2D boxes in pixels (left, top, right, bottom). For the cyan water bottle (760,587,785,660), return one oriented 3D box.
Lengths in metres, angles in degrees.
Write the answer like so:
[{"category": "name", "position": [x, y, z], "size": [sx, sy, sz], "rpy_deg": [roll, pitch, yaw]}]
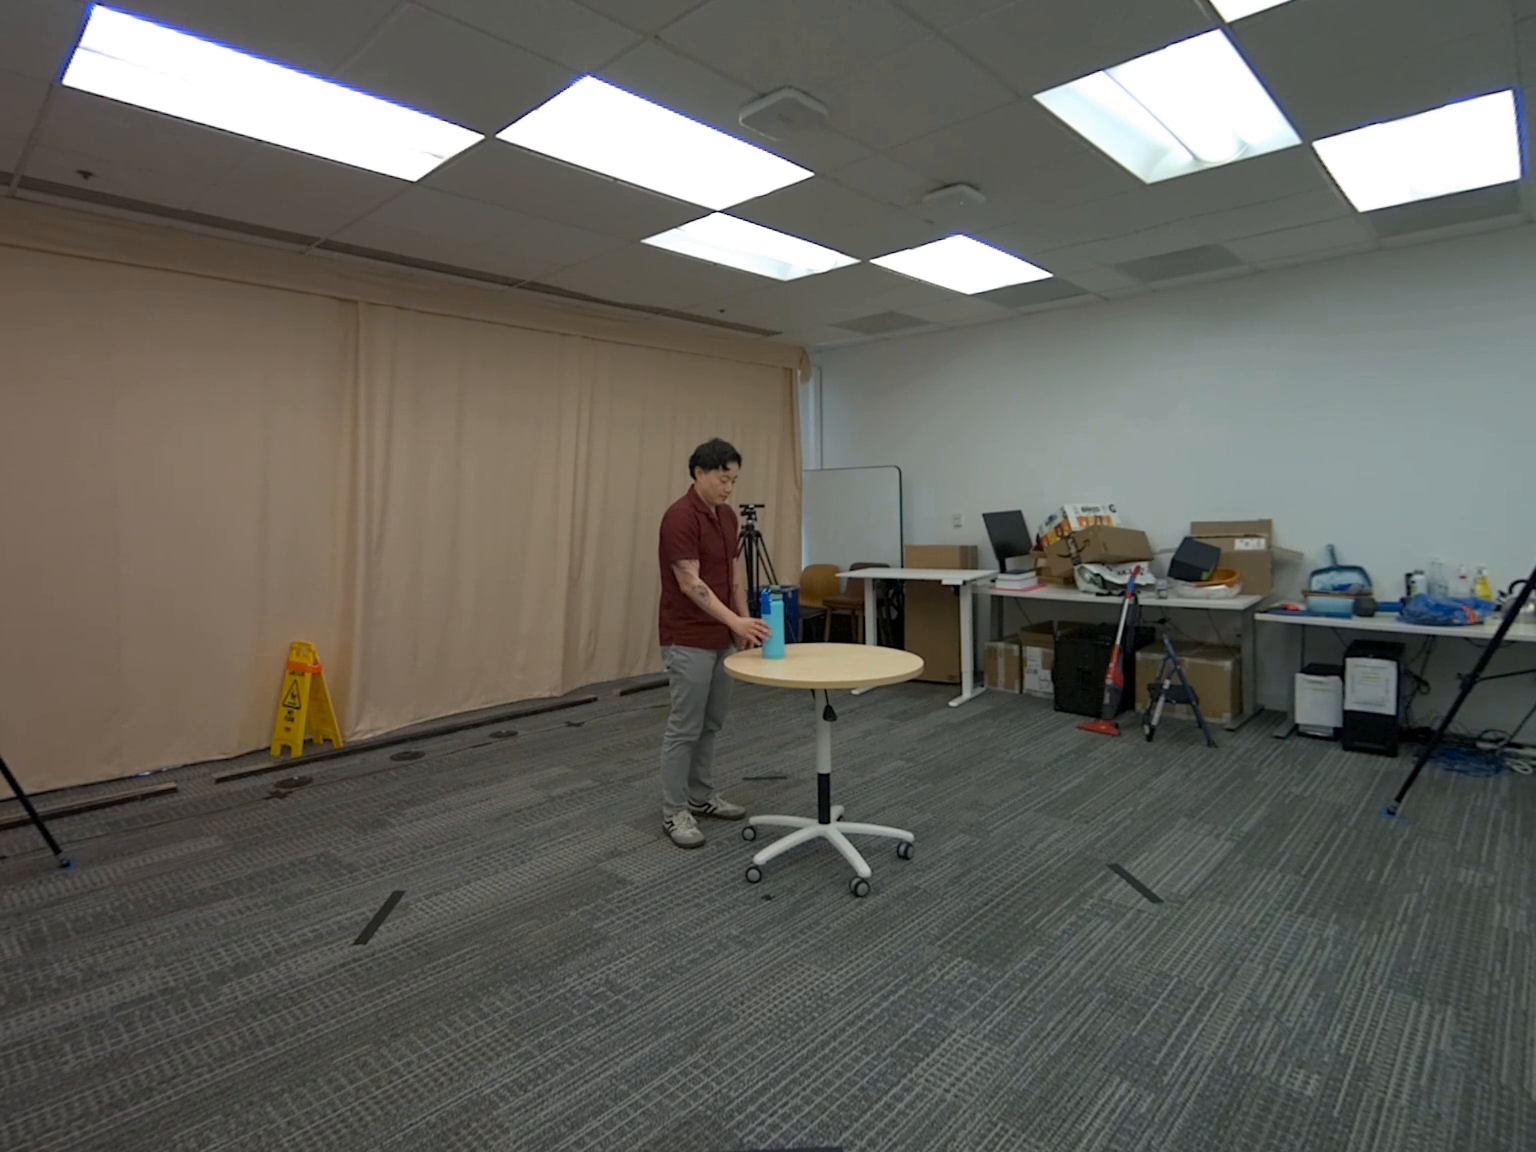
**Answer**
[{"category": "cyan water bottle", "position": [0.025, 0.184, 3.354], "size": [0.092, 0.282, 0.093], "rpy_deg": [1, 5, -2]}]
